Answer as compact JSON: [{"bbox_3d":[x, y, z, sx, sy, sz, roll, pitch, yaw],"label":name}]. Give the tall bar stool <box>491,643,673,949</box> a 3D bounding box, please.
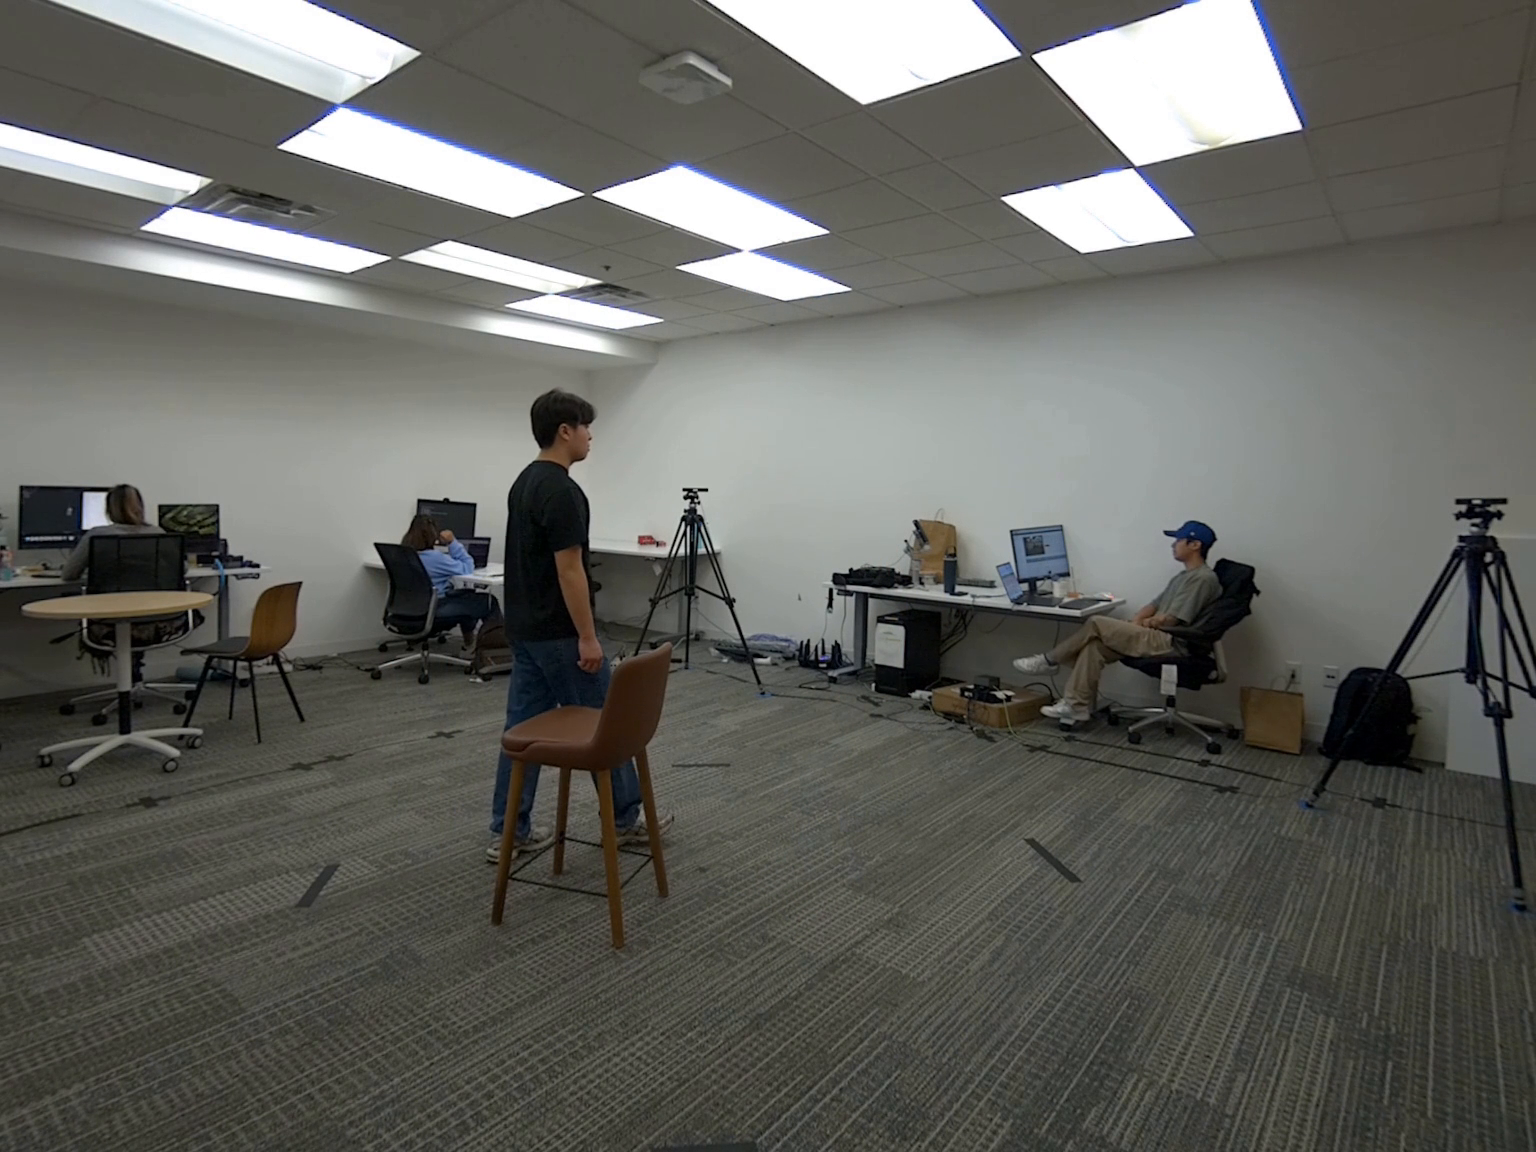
[{"bbox_3d":[-0.601,0.659,2.782,0.478,0.887,0.448,4,4,19],"label":"tall bar stool"}]
